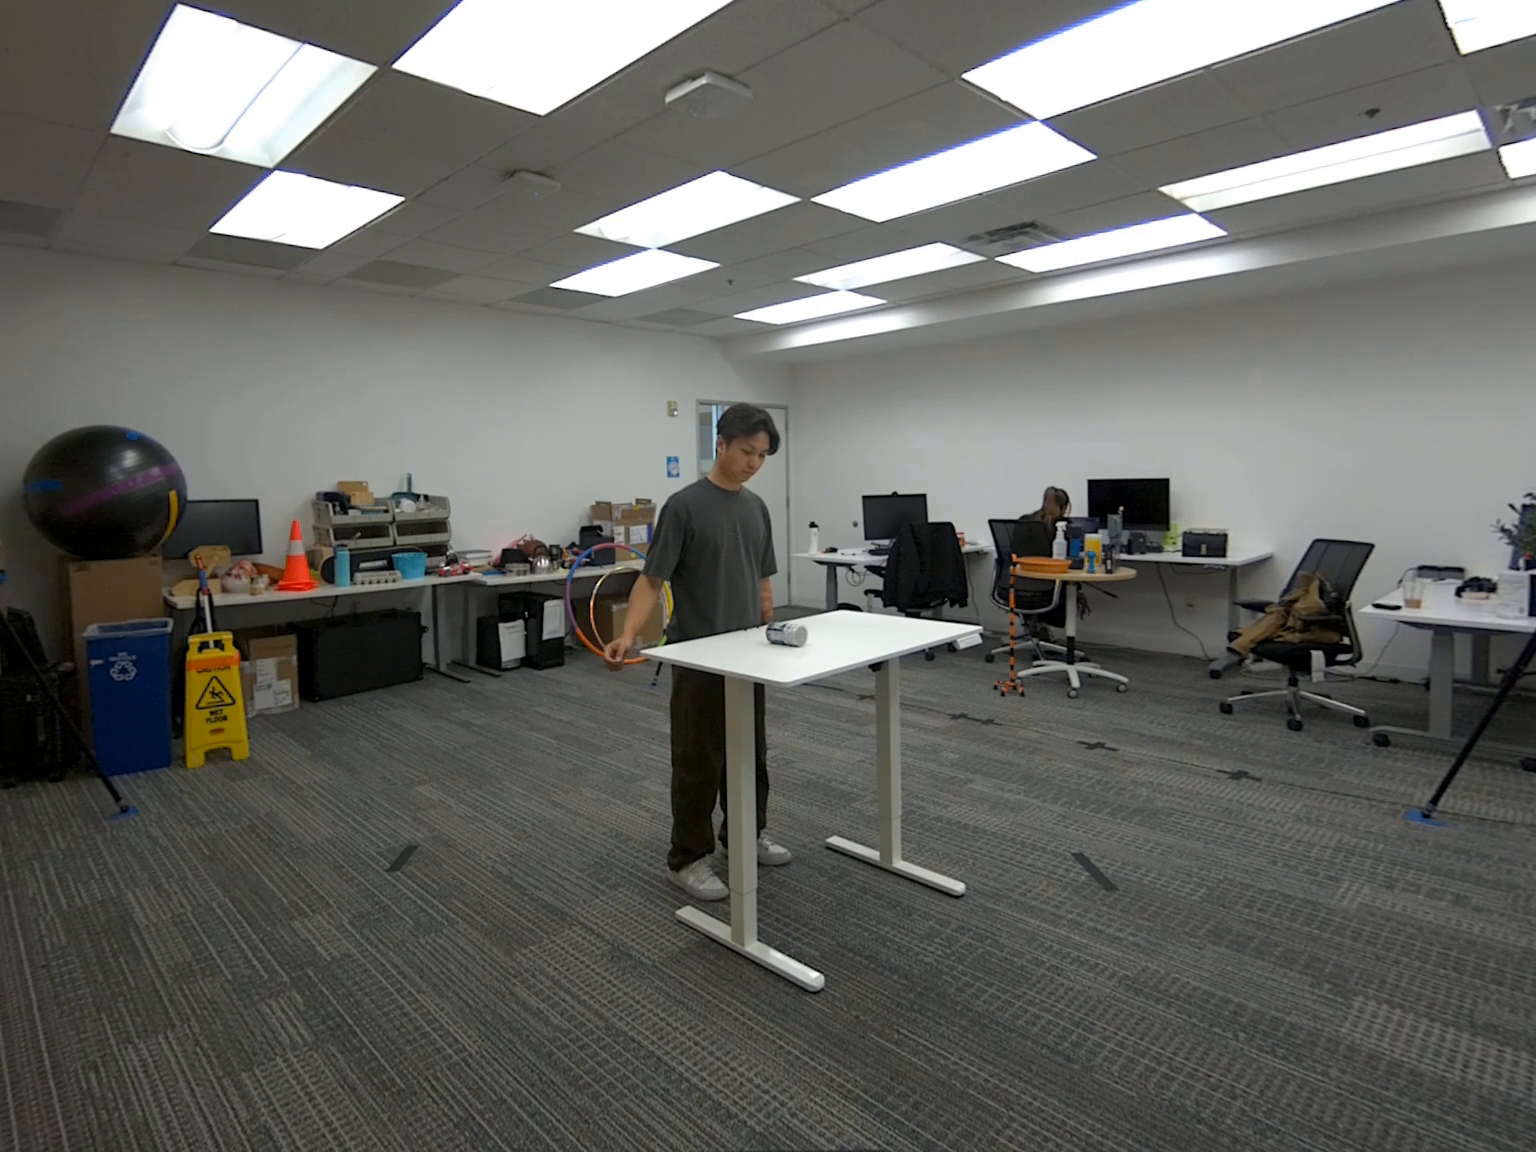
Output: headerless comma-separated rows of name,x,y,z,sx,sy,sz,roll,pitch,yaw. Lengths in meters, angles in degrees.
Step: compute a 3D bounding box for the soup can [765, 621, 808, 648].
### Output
soup can,0.062,0.179,2.651,0.125,0.067,0.065,1,5,37
